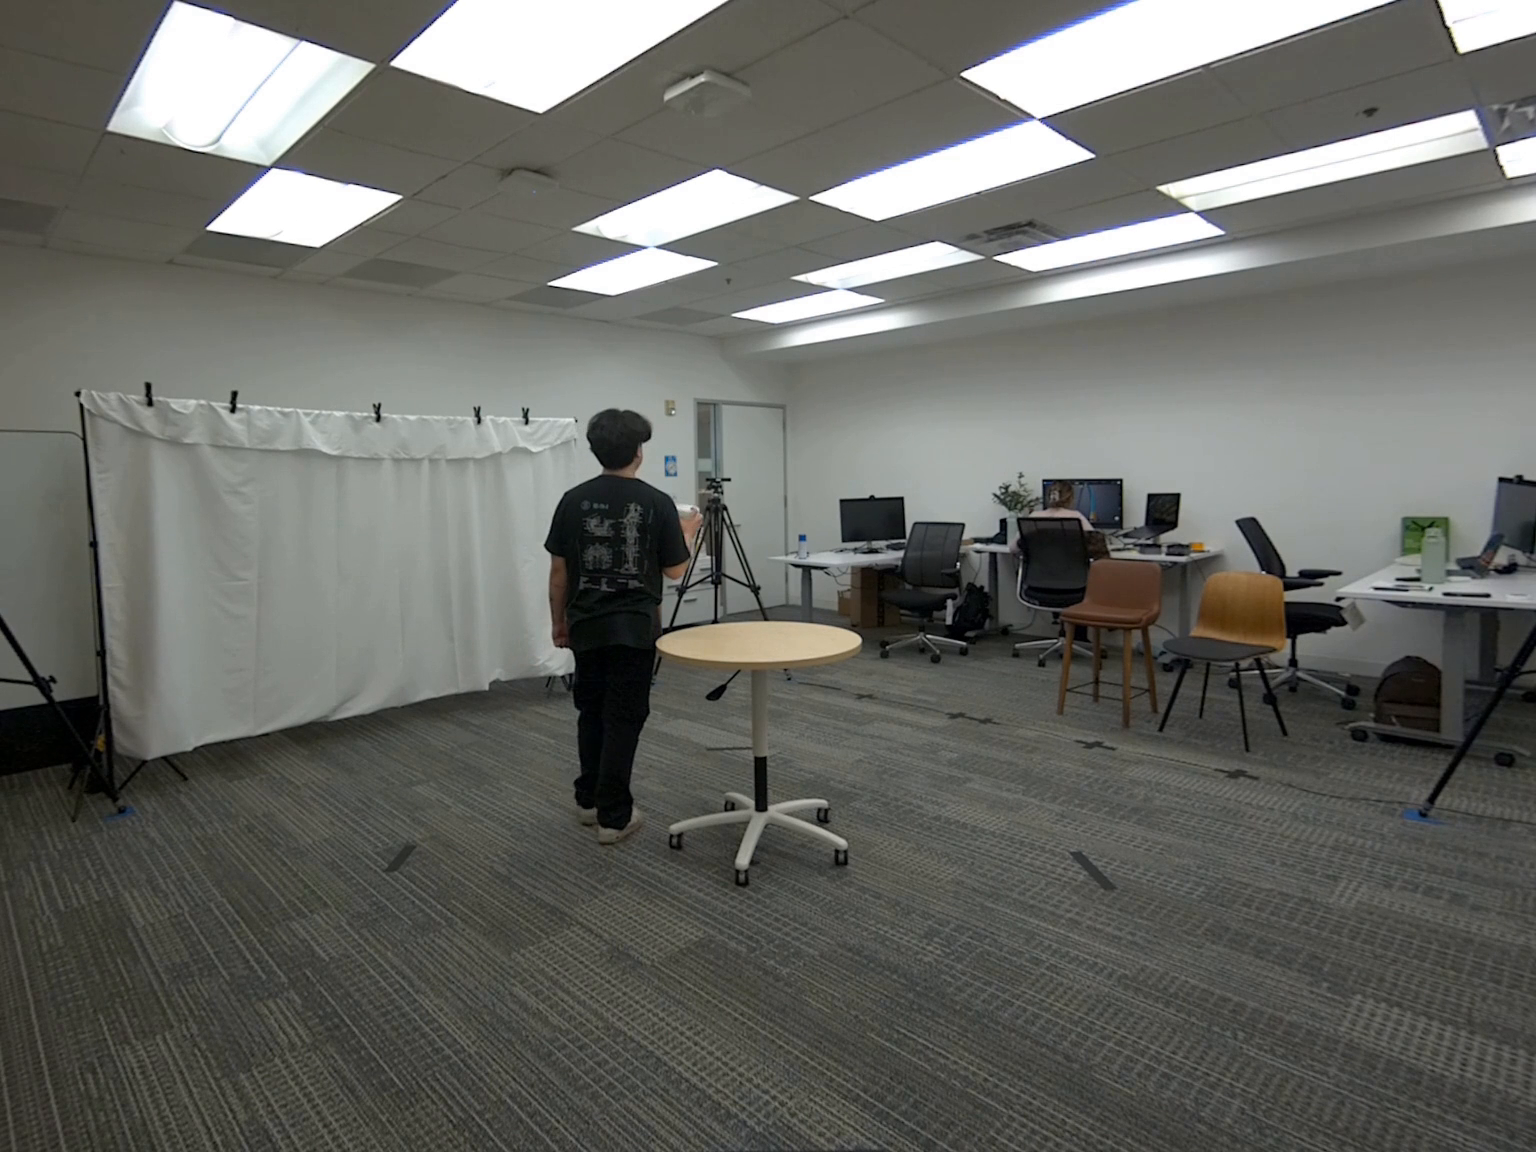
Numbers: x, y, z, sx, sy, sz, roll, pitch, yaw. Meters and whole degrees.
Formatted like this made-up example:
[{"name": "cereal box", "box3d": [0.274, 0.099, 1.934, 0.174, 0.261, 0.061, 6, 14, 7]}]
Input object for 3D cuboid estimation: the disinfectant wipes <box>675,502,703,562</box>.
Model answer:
[{"name": "disinfectant wipes", "box3d": [-0.351, -0.190, 3.655, 0.117, 0.215, 0.119, 6, 15, -4]}]
